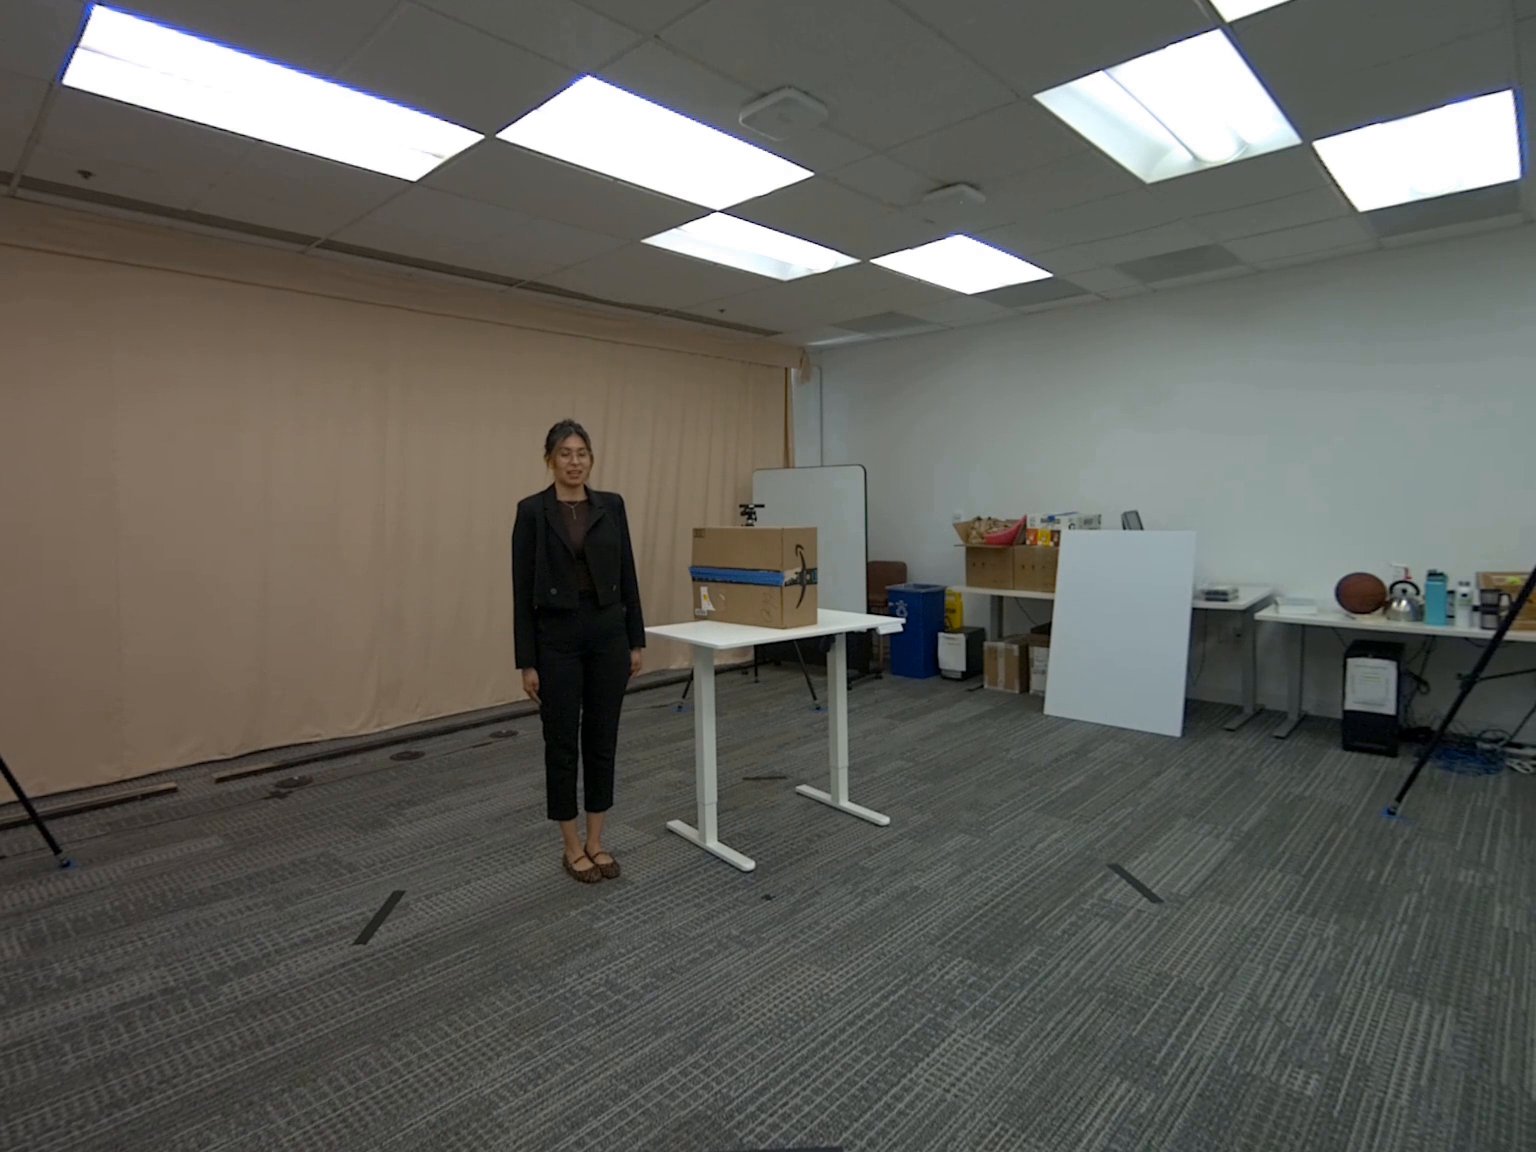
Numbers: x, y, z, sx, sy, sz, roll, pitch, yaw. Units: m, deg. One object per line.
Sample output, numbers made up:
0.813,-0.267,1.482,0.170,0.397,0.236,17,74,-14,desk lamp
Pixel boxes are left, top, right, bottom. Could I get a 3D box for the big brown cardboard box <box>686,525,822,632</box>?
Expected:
-0.074,-0.008,3.691,0.226,0.417,0.608,-4,5,-44,big brown cardboard box
